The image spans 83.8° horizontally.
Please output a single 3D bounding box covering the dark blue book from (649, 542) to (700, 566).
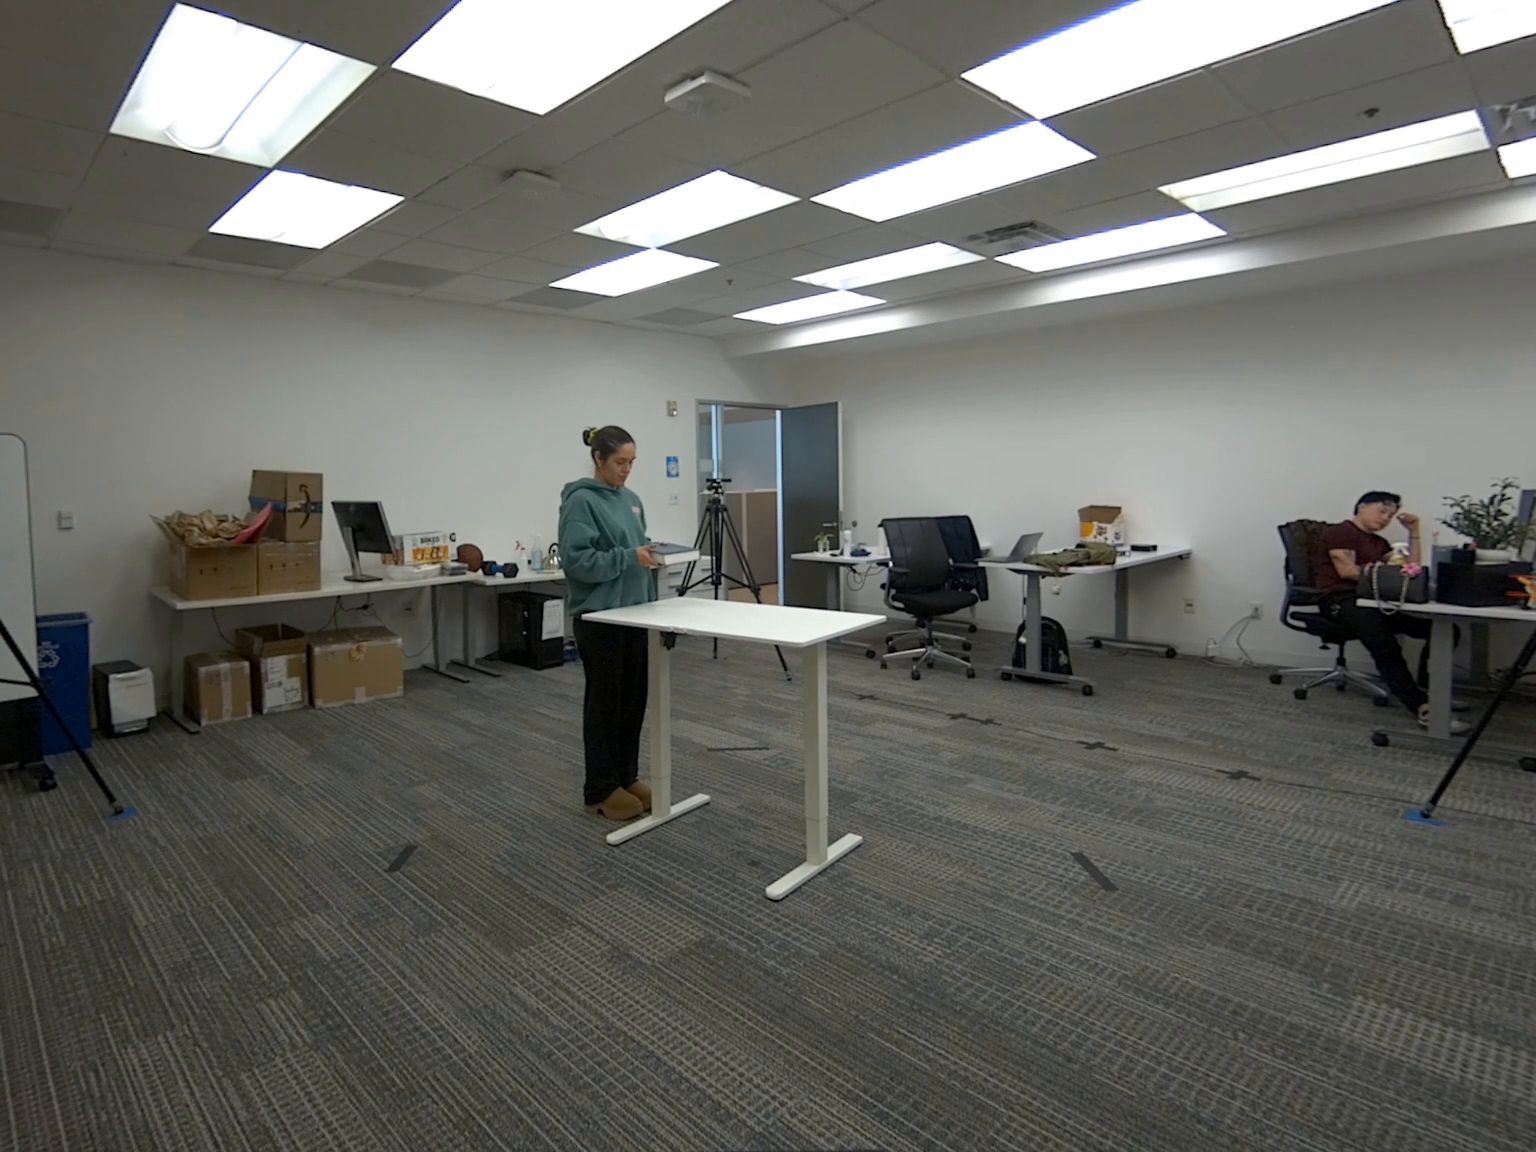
[{"bbox_3d":[-0.401,-0.089,3.471,0.160,0.045,0.253,-11,13,-35],"label":"dark blue book"}]
